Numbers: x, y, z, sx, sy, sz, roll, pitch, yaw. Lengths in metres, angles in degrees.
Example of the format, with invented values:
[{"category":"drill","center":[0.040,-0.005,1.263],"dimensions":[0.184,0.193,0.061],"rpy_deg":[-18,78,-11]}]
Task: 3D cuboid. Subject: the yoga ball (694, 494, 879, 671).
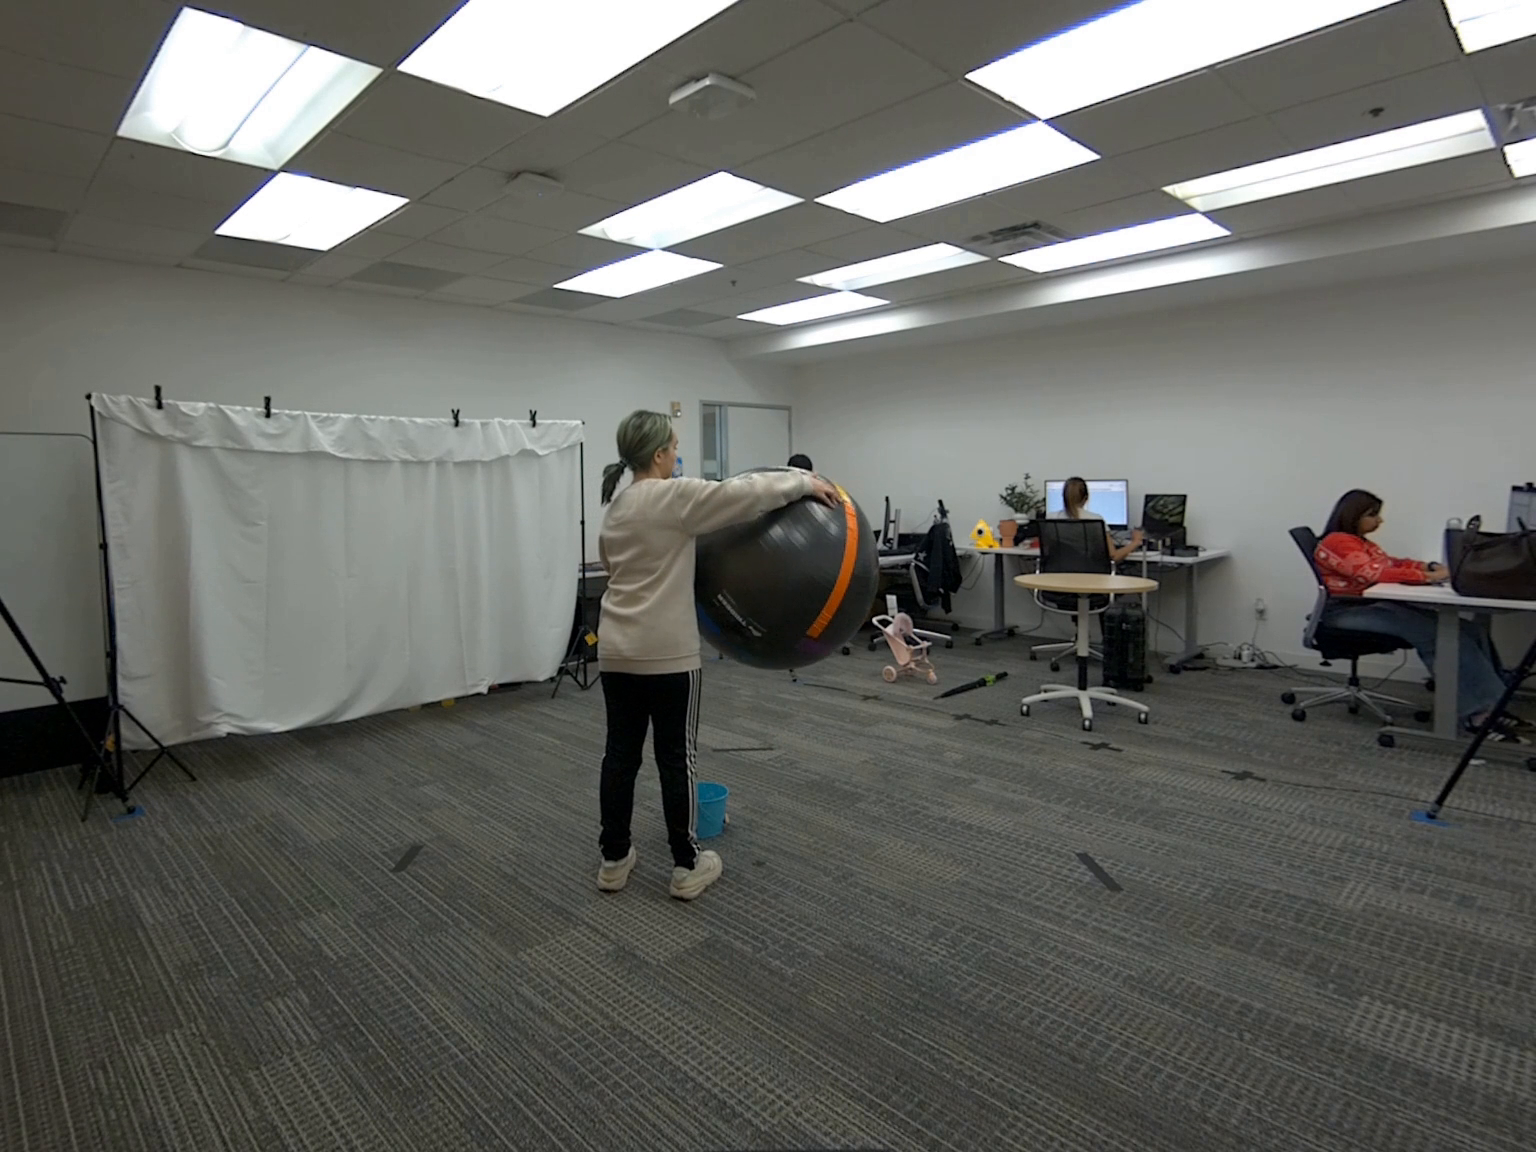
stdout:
[{"category":"yoga ball","center":[0.051,-0.032,3.199],"dimensions":[0.757,0.755,0.762],"rpy_deg":[-1,5,-2]}]
